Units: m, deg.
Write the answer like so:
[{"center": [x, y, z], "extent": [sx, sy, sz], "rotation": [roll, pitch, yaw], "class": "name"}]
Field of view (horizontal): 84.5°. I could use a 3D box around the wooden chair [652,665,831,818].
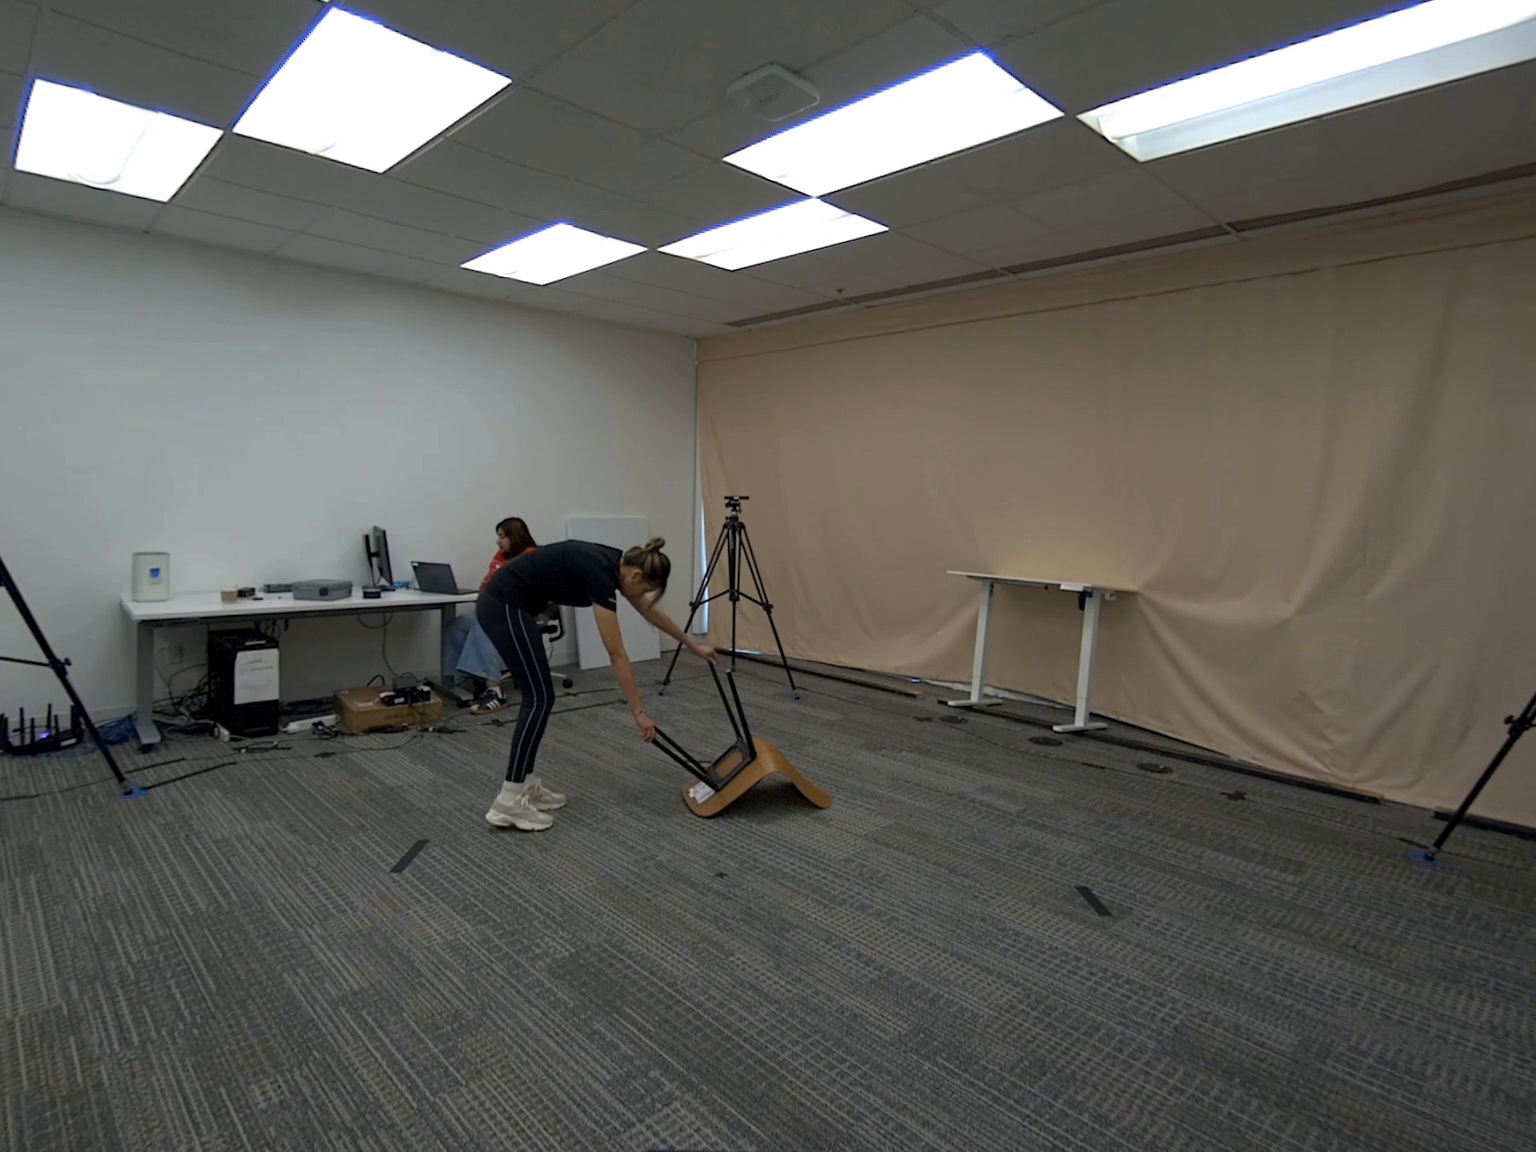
[{"center": [-0.194, 0.859, 3.874], "extent": [0.522, 0.866, 0.485], "rotation": [-40, 13, -9], "class": "wooden chair"}]
